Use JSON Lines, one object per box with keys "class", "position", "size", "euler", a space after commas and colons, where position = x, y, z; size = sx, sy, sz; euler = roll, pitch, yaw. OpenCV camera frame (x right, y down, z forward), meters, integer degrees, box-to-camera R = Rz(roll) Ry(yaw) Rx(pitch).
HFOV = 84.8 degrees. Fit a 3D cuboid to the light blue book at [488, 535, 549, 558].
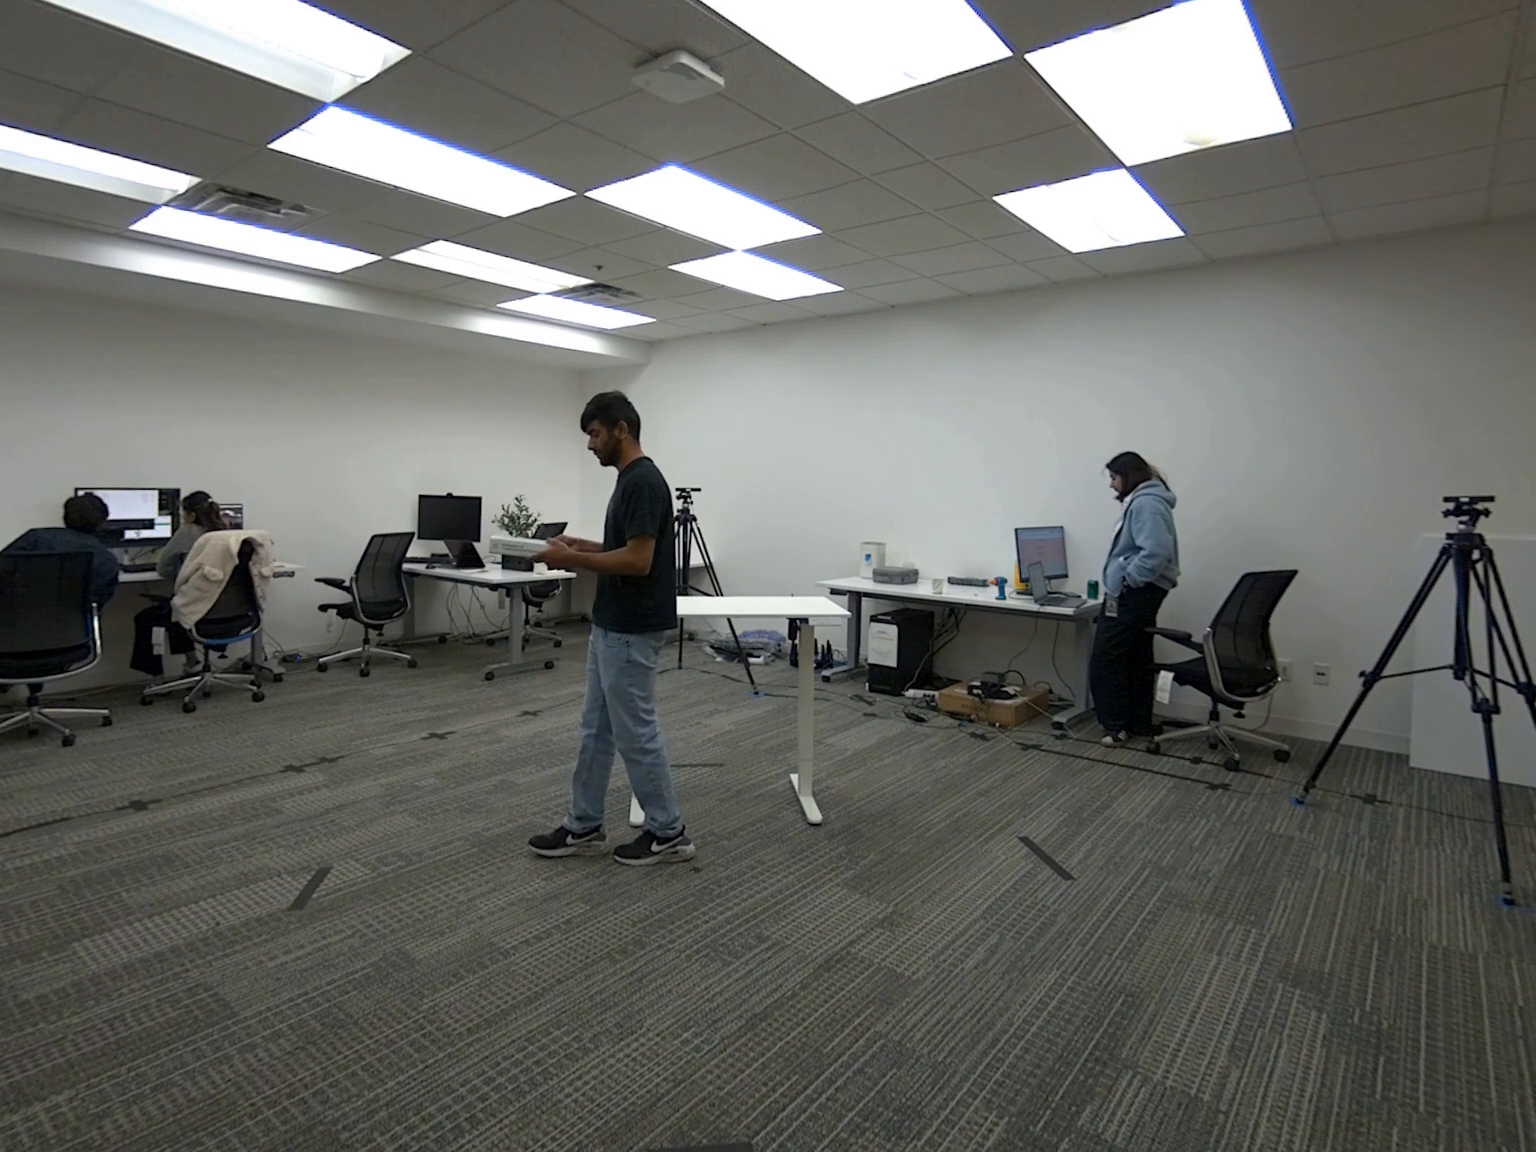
{"class": "light blue book", "position": [-0.875, -0.106, 3.091], "size": [0.260, 0.059, 0.192], "euler": [6, 2, -5]}
